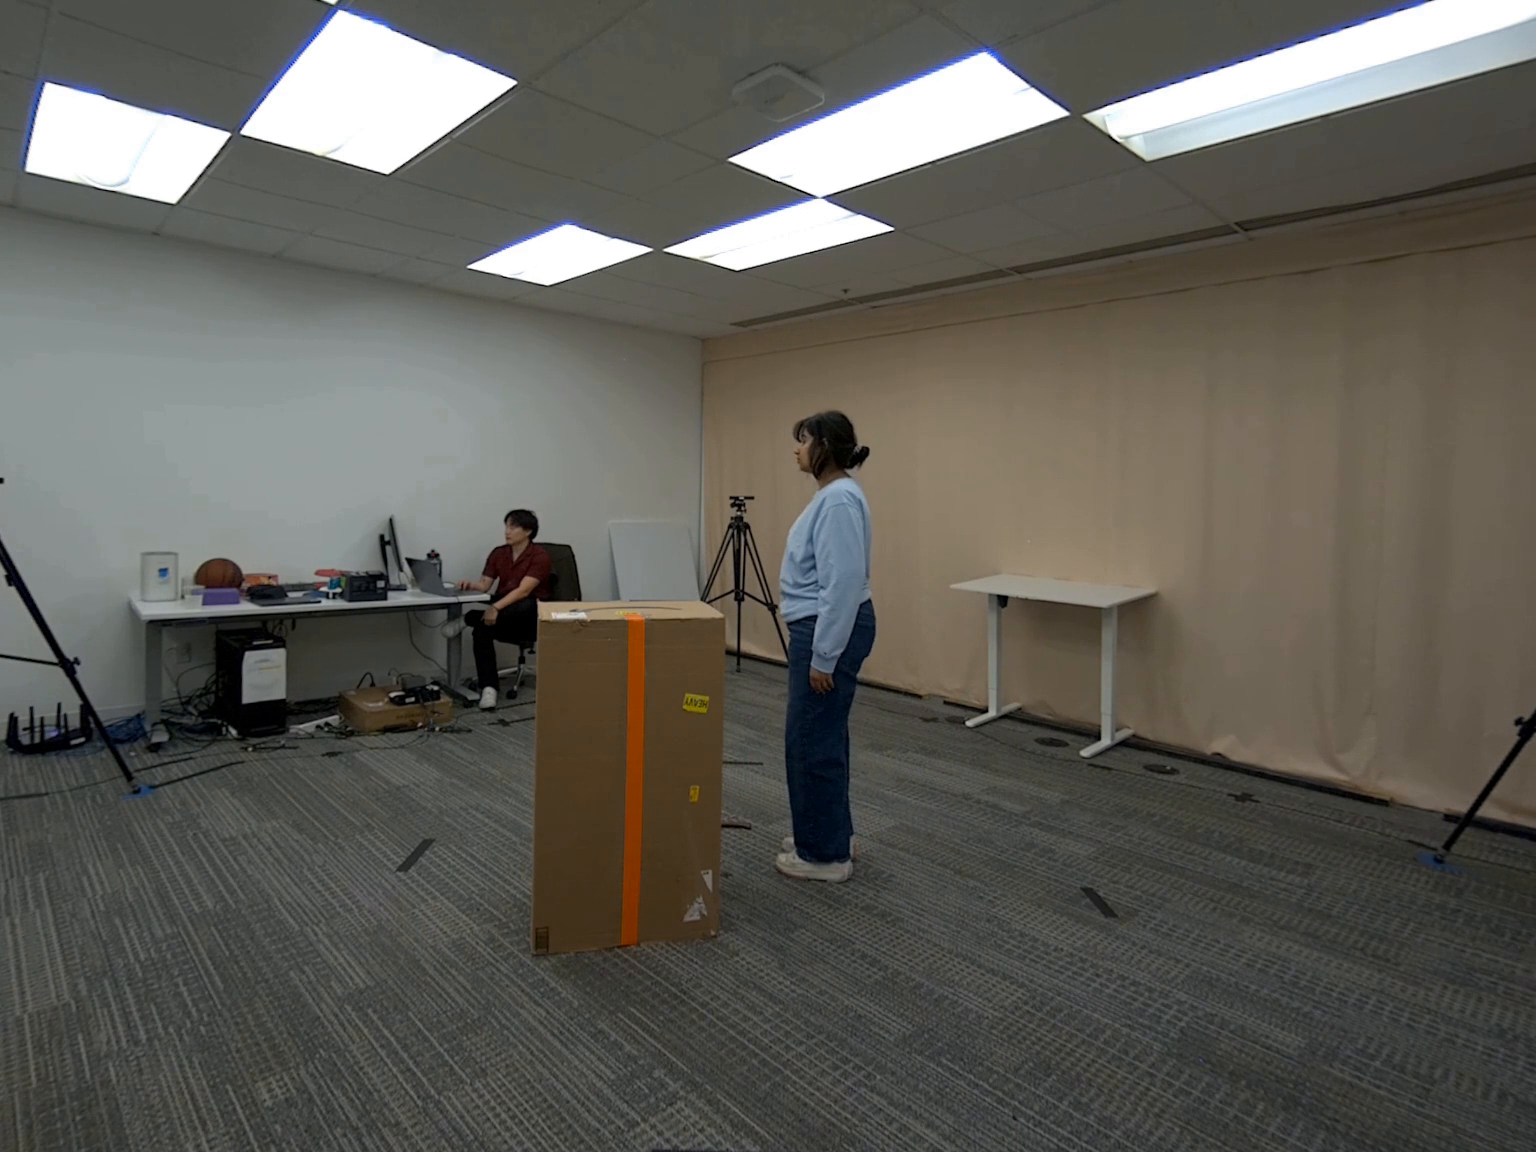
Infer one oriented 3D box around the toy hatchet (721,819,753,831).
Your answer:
[{"bbox_3d":[-0.209,1.060,3.518,0.270,0.029,0.131,3,5,1],"label":"toy hatchet"}]
